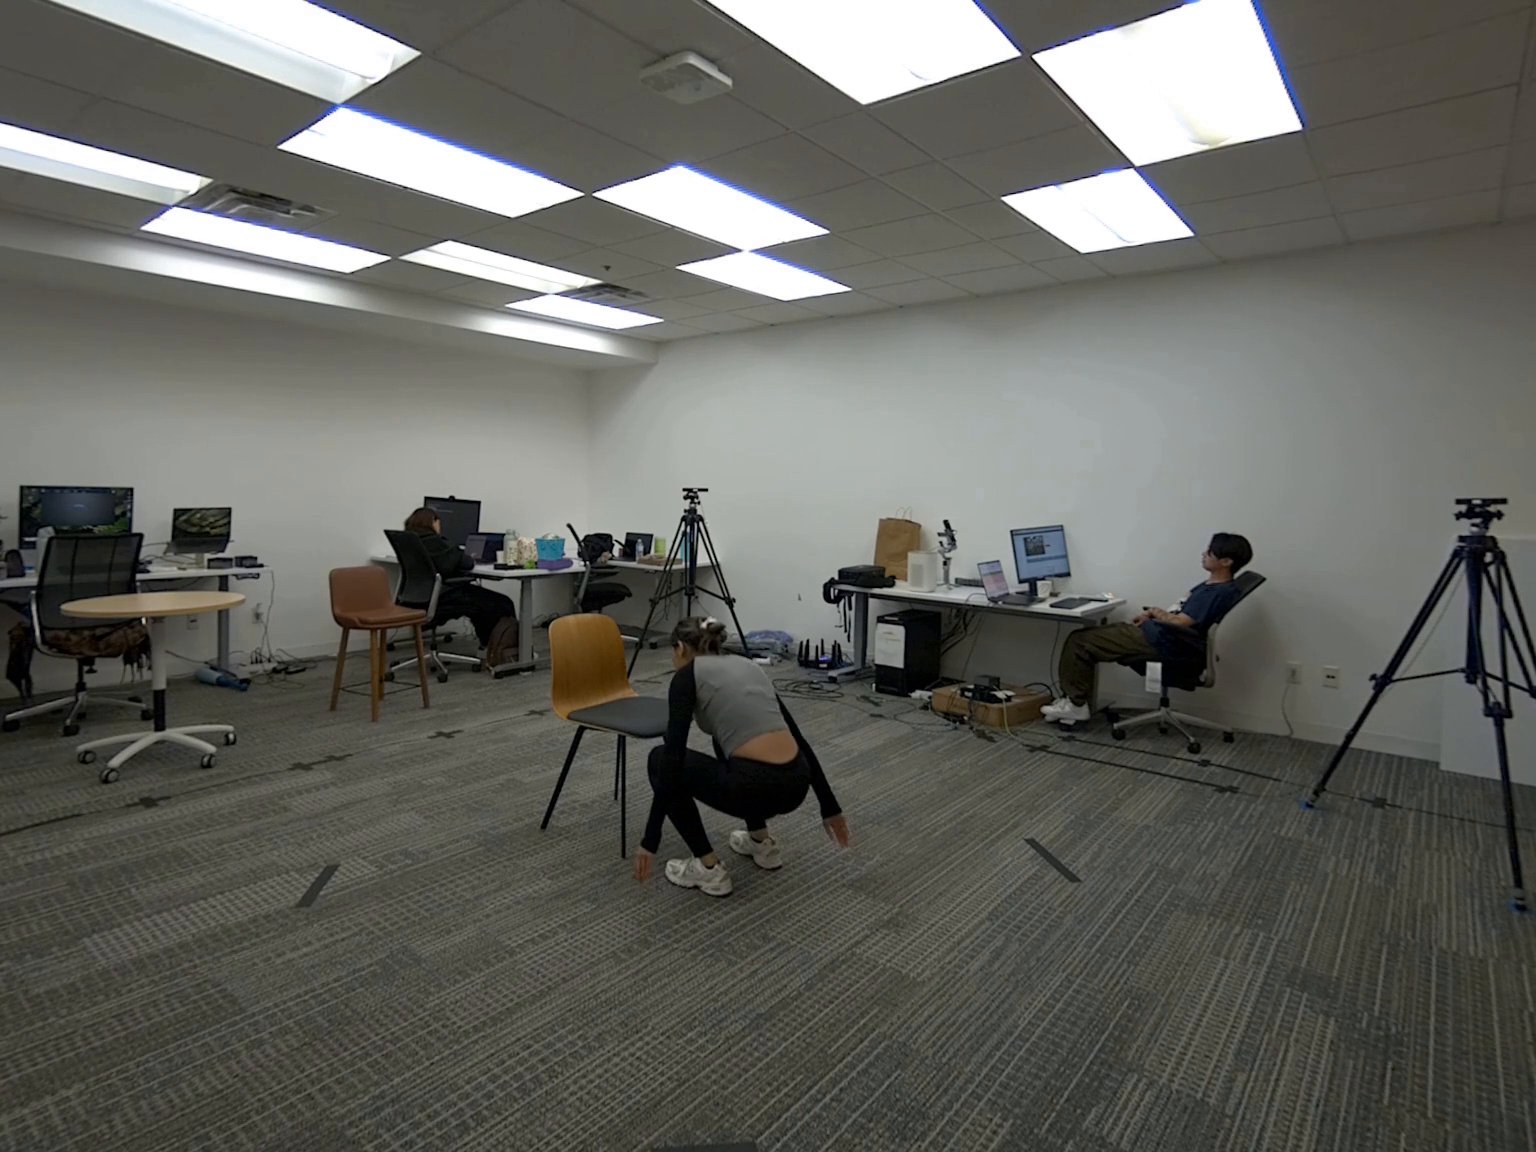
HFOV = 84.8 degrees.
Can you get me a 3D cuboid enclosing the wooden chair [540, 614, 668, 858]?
[{"bbox_3d":[-0.607,0.601,3.465,0.538,0.877,0.464,-2,1,35],"label":"wooden chair"}]
